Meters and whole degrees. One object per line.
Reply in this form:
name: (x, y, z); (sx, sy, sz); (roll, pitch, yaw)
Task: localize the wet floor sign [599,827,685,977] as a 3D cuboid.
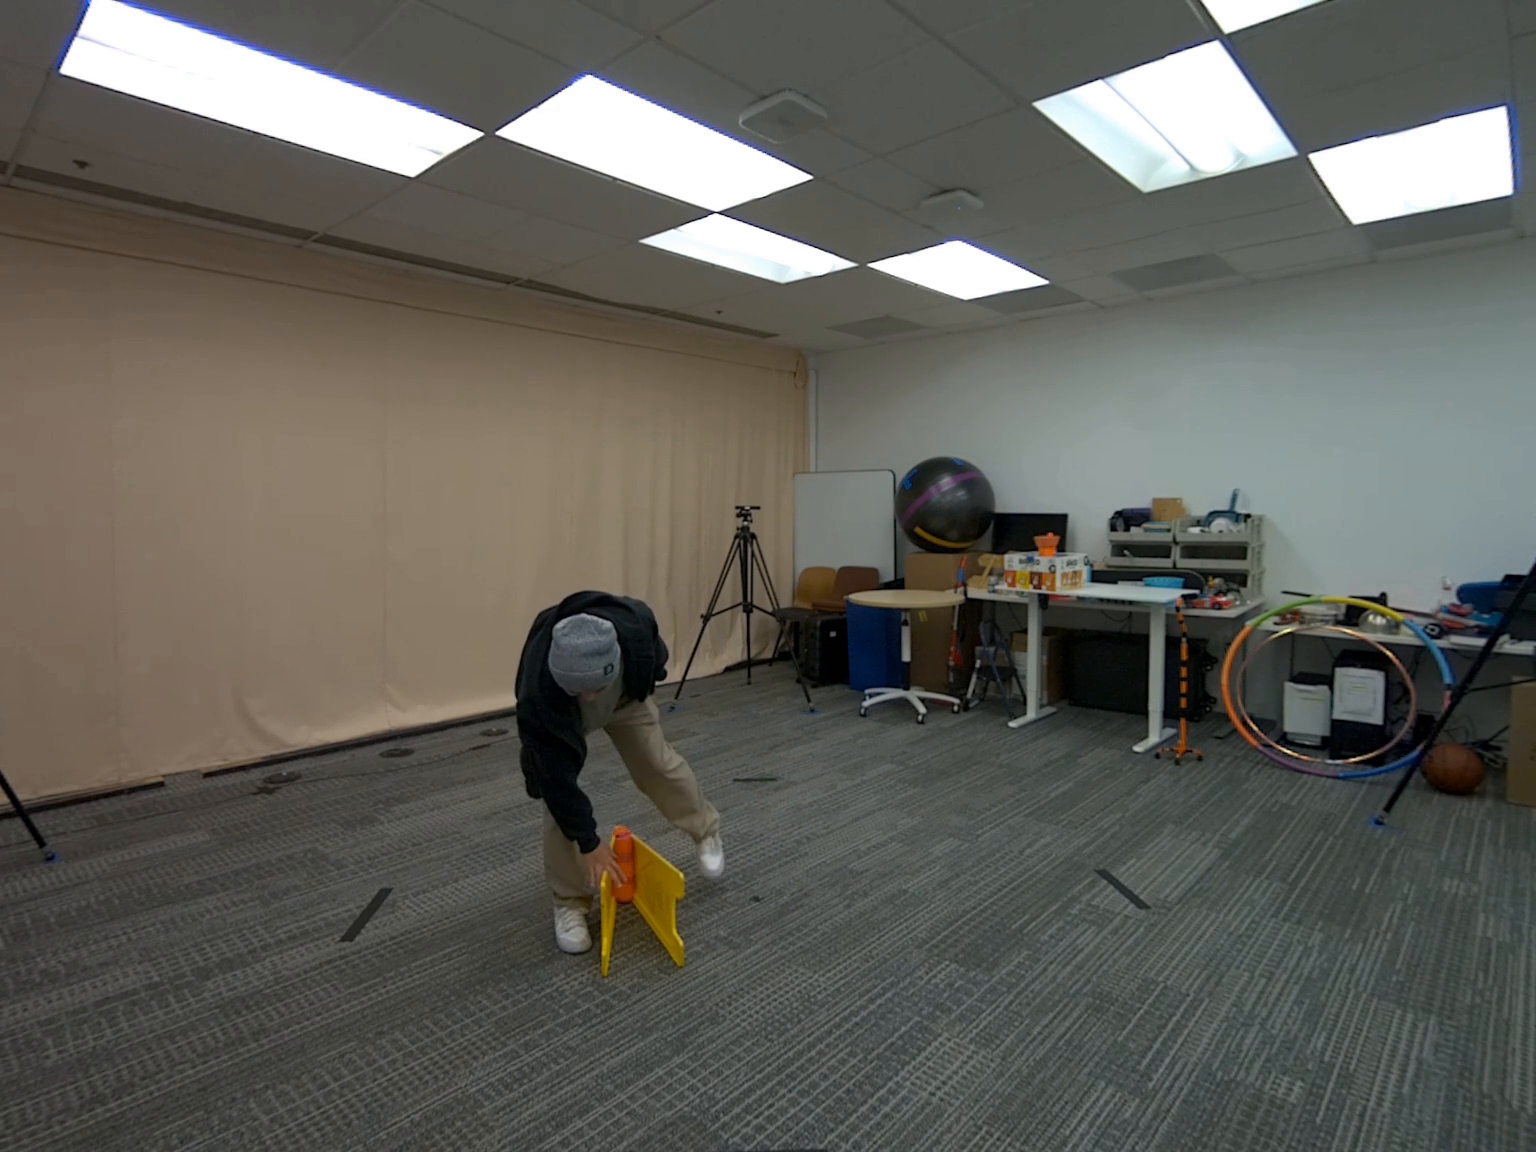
wet floor sign: (-0.472, 1.035, 2.822); (0.285, 0.282, 0.656); (0, 1, -16)
